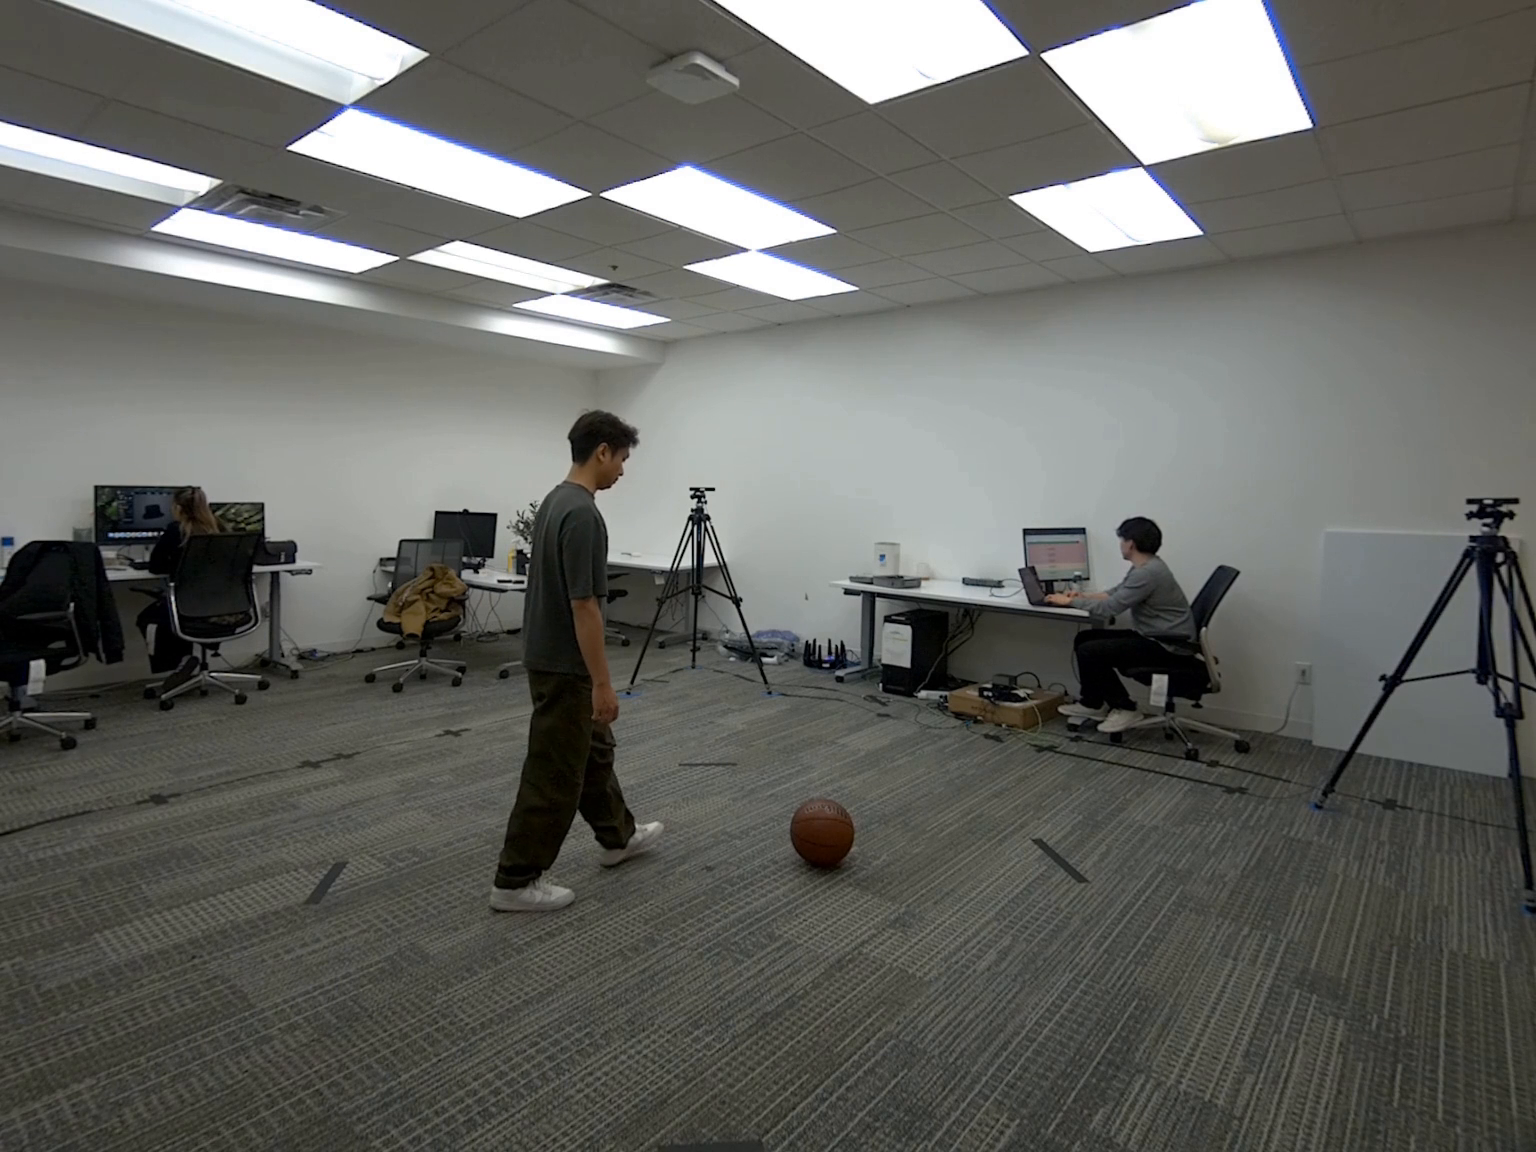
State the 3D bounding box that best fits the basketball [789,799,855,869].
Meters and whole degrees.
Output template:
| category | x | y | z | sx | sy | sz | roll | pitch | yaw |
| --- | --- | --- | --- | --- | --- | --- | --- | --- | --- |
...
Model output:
| category | x | y | z | sx | sy | sz | roll | pitch | yaw |
| --- | --- | --- | --- | --- | --- | --- | --- | --- | --- |
| basketball | 0.193 | 0.950 | 3.175 | 0.235 | 0.235 | 0.237 | 1 | 4 | -2 |
